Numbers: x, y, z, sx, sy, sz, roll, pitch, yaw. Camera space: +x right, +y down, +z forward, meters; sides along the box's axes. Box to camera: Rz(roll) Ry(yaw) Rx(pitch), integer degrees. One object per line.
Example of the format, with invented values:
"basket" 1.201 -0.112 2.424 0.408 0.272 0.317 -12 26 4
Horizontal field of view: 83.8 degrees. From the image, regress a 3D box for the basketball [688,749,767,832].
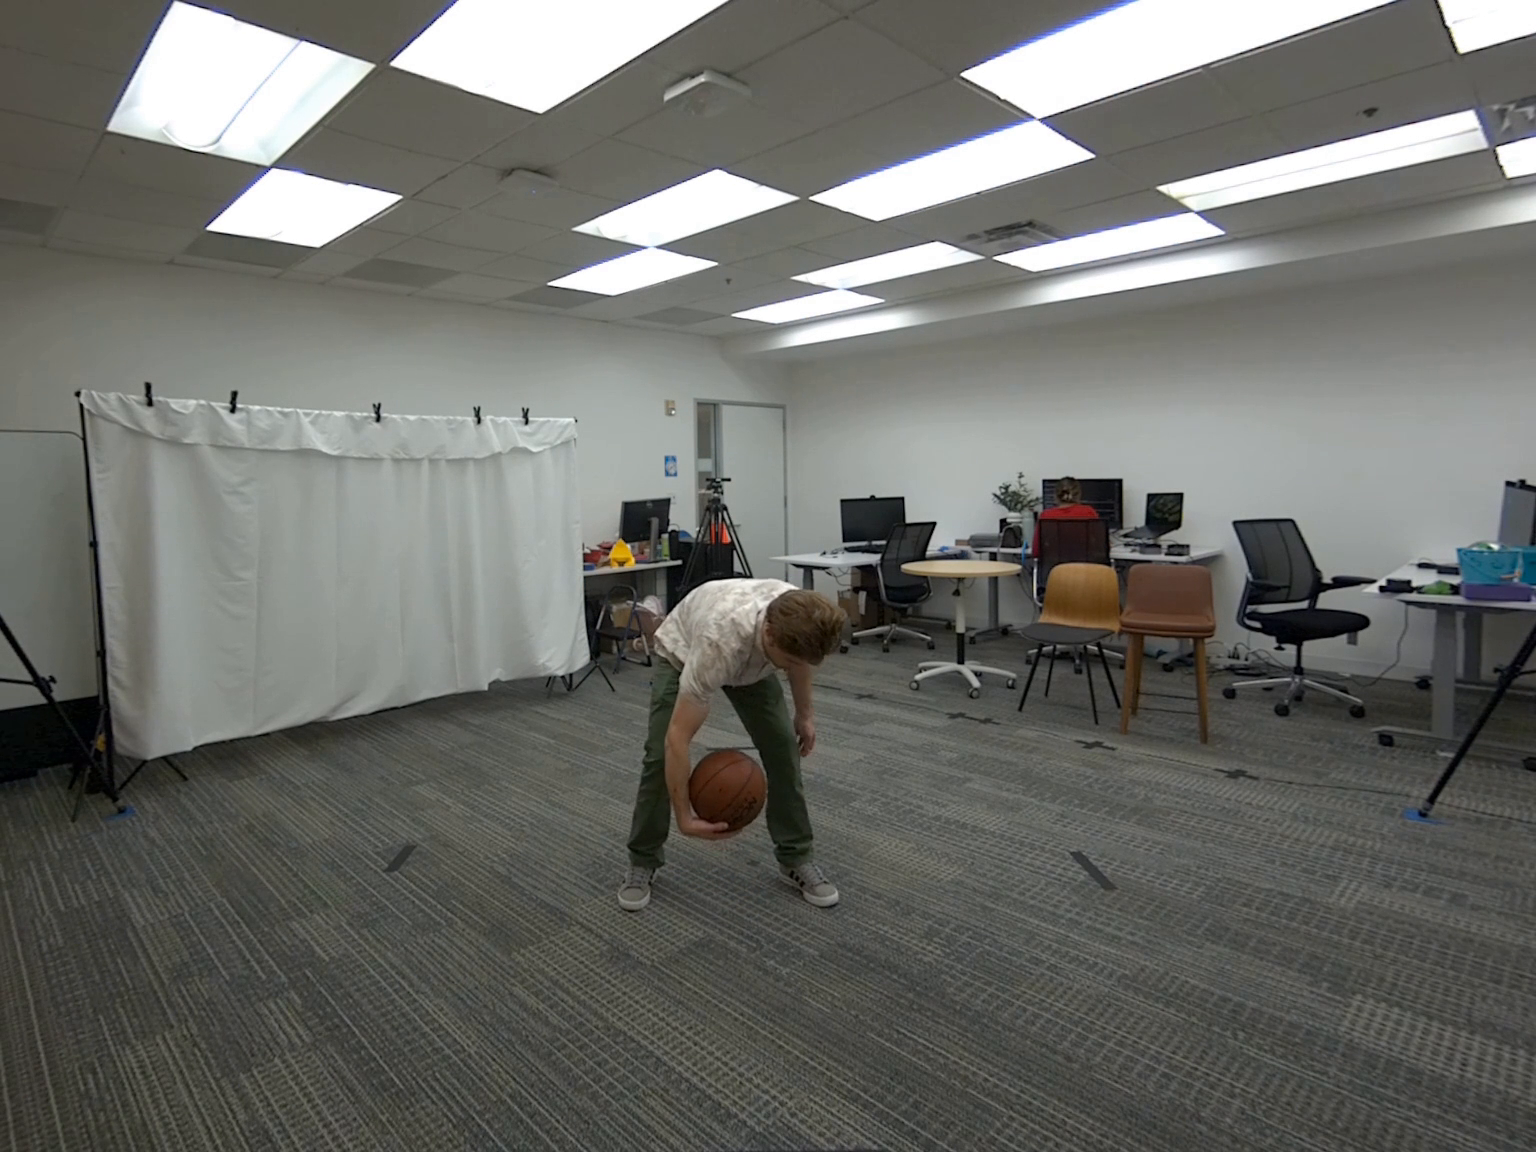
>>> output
"basketball" -0.120 0.653 2.598 0.236 0.235 0.237 -1 5 -2
